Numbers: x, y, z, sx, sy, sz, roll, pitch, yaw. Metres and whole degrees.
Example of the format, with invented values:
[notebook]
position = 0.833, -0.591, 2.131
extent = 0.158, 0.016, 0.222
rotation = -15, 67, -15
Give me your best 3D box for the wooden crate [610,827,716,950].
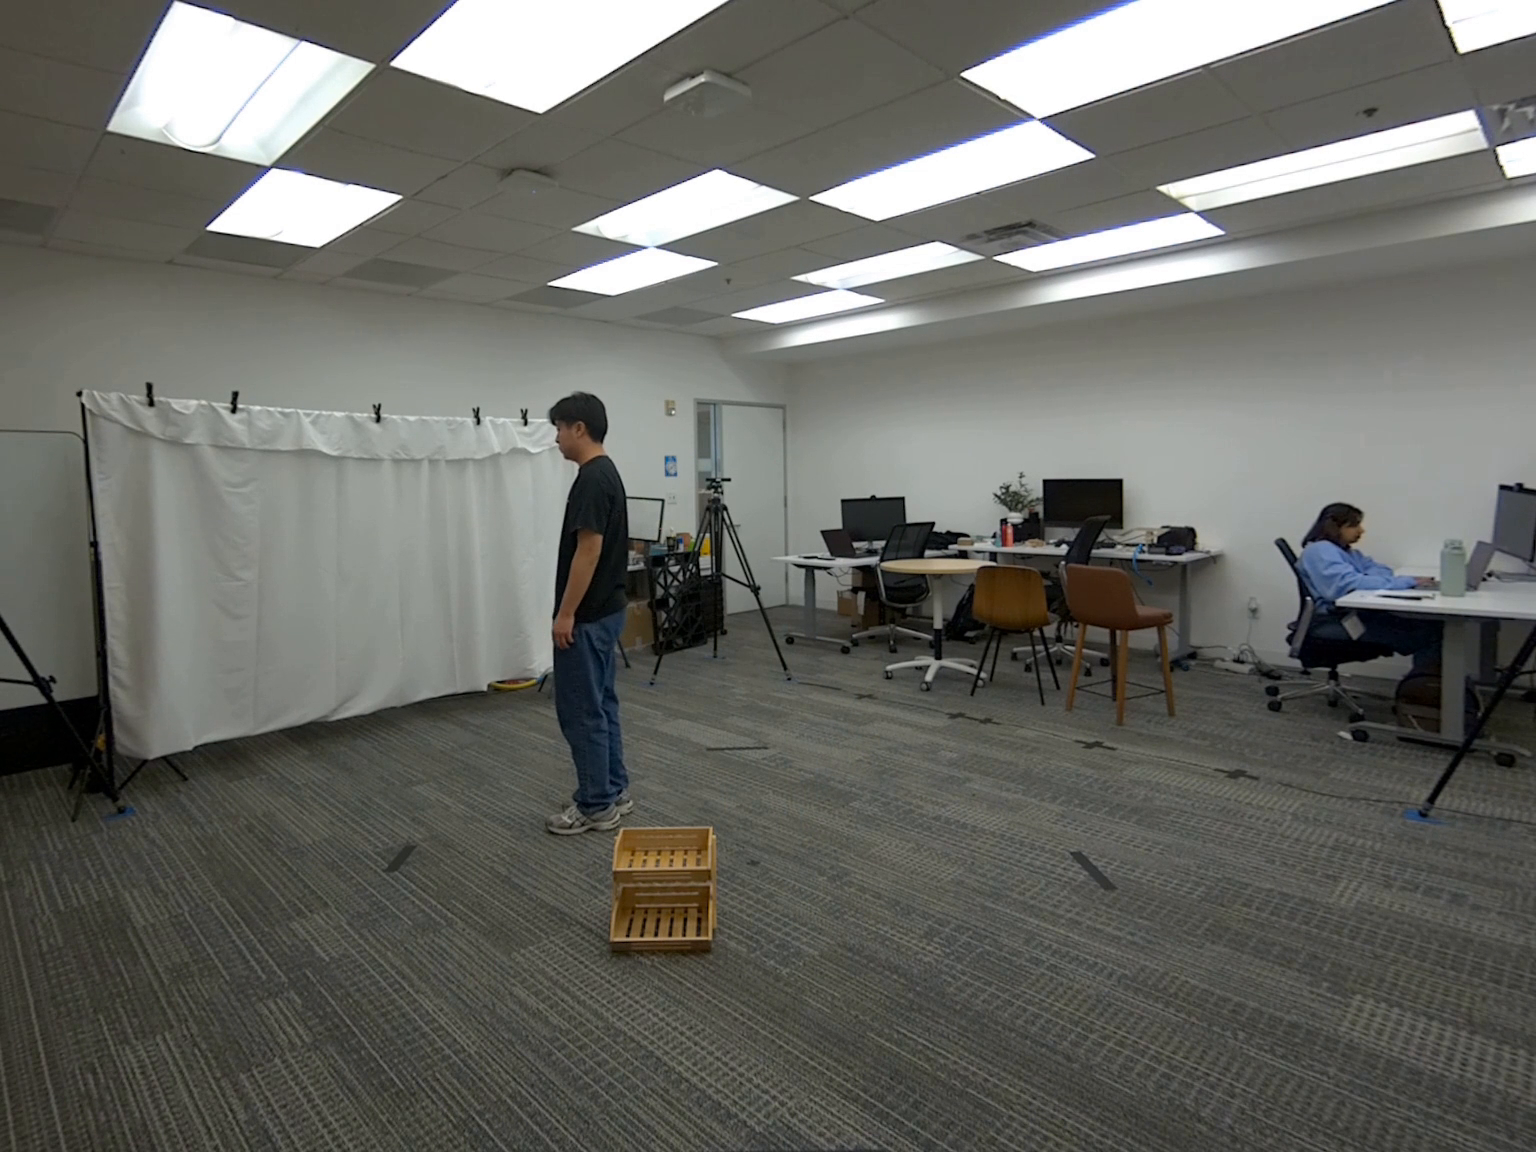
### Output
[wooden crate]
position = -0.319, 0.967, 2.647
extent = 0.324, 0.272, 0.304
rotation = -1, 6, -1
